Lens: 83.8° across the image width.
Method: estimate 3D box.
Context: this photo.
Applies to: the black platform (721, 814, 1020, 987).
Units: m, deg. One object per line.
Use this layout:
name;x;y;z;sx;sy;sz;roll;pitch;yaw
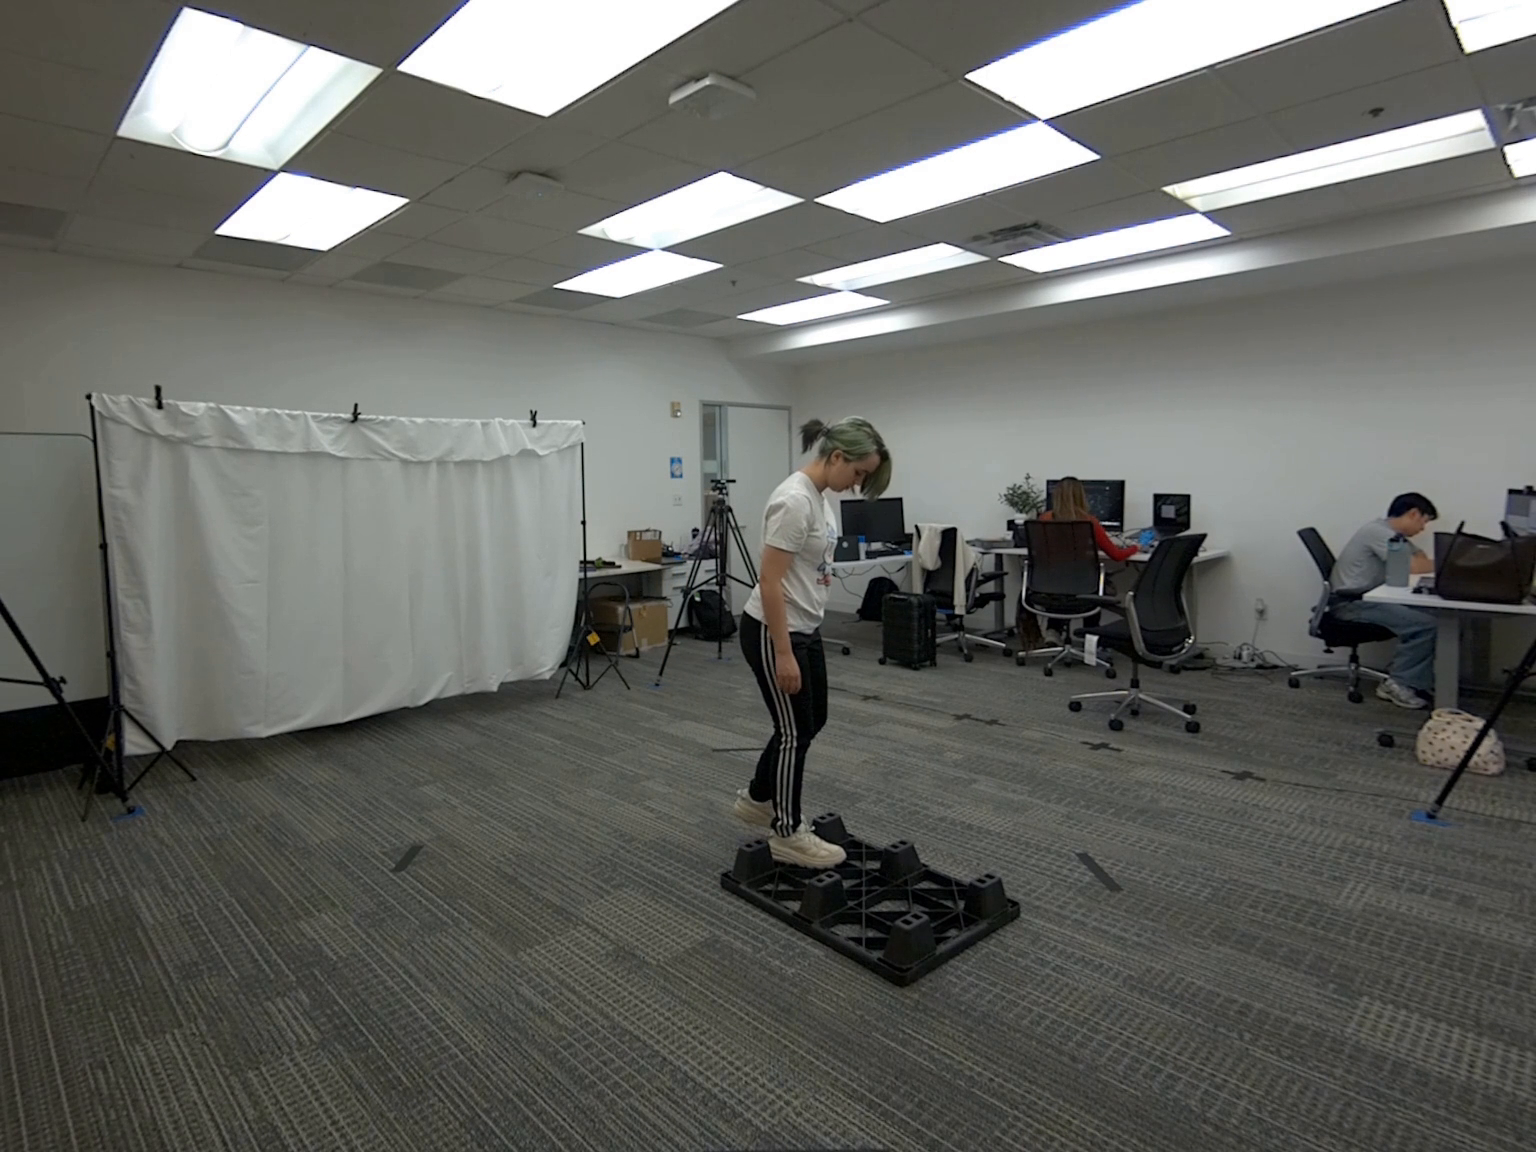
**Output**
black platform;0.313;1.010;2.821;0.589;0.143;0.830;-6;7;-41
